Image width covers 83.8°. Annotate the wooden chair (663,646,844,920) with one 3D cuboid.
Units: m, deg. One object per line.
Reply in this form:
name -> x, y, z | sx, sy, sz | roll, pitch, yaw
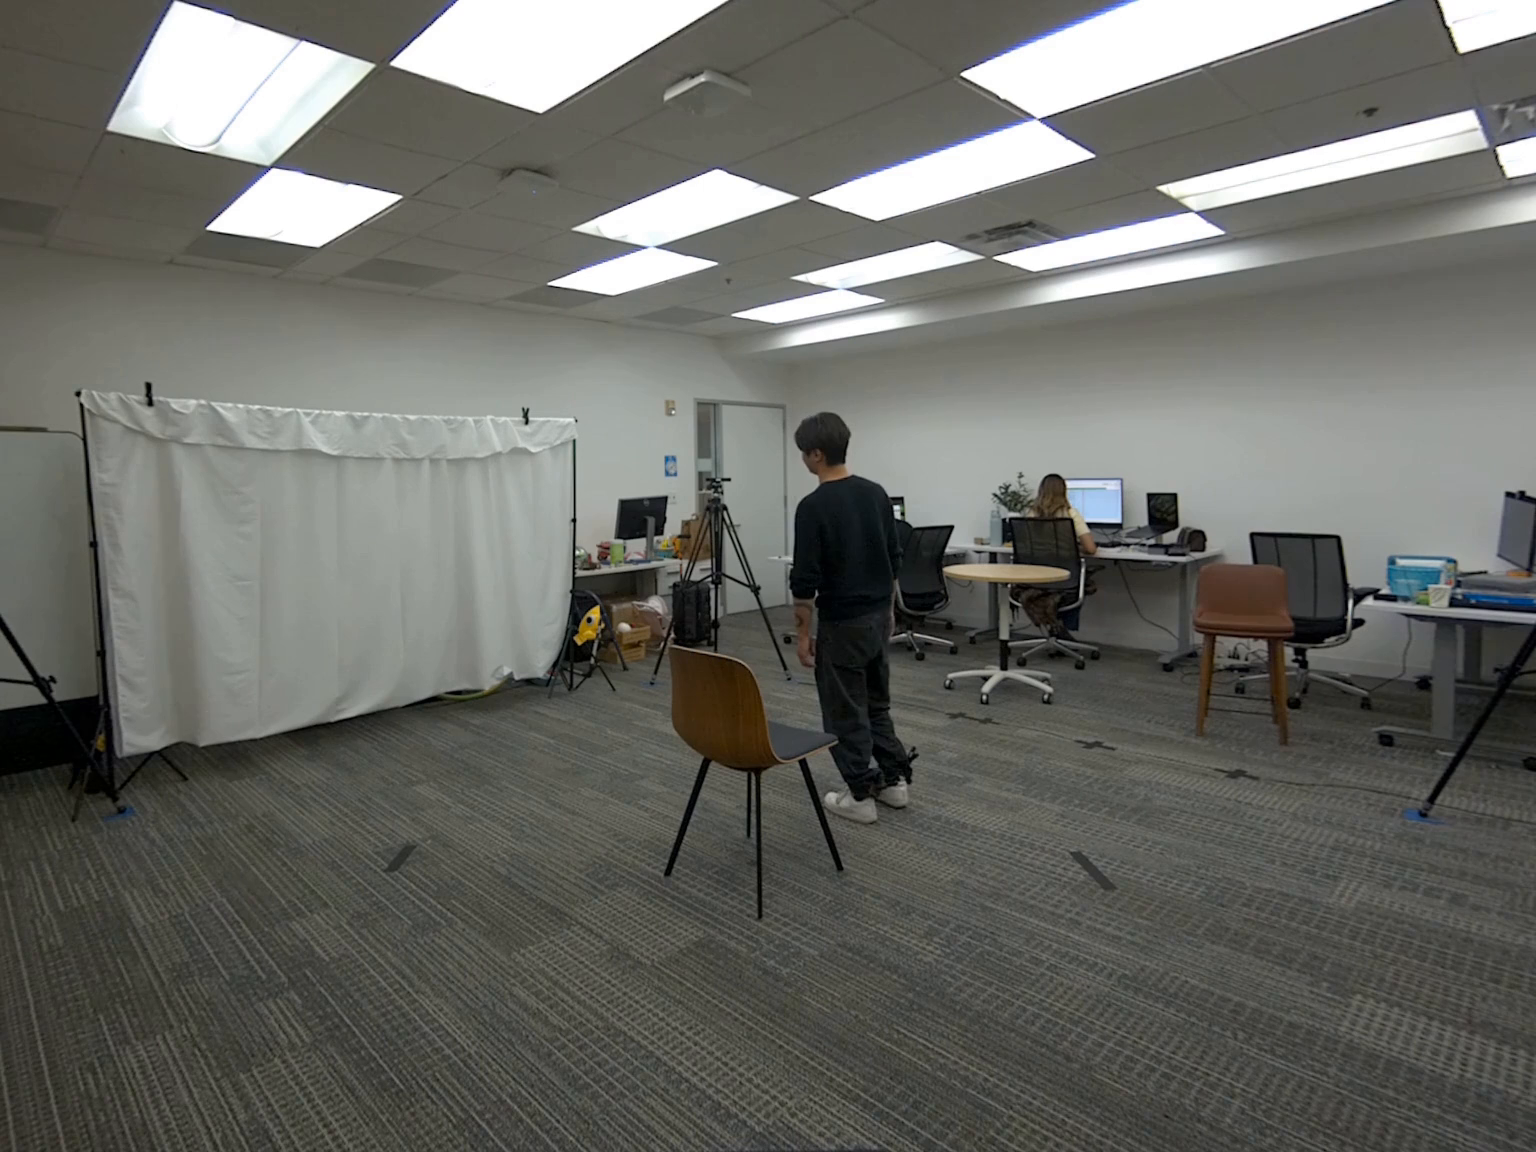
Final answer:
wooden chair -> -0.049, 0.627, 2.995 | 0.493, 0.871, 0.511 | 3, 10, 42
